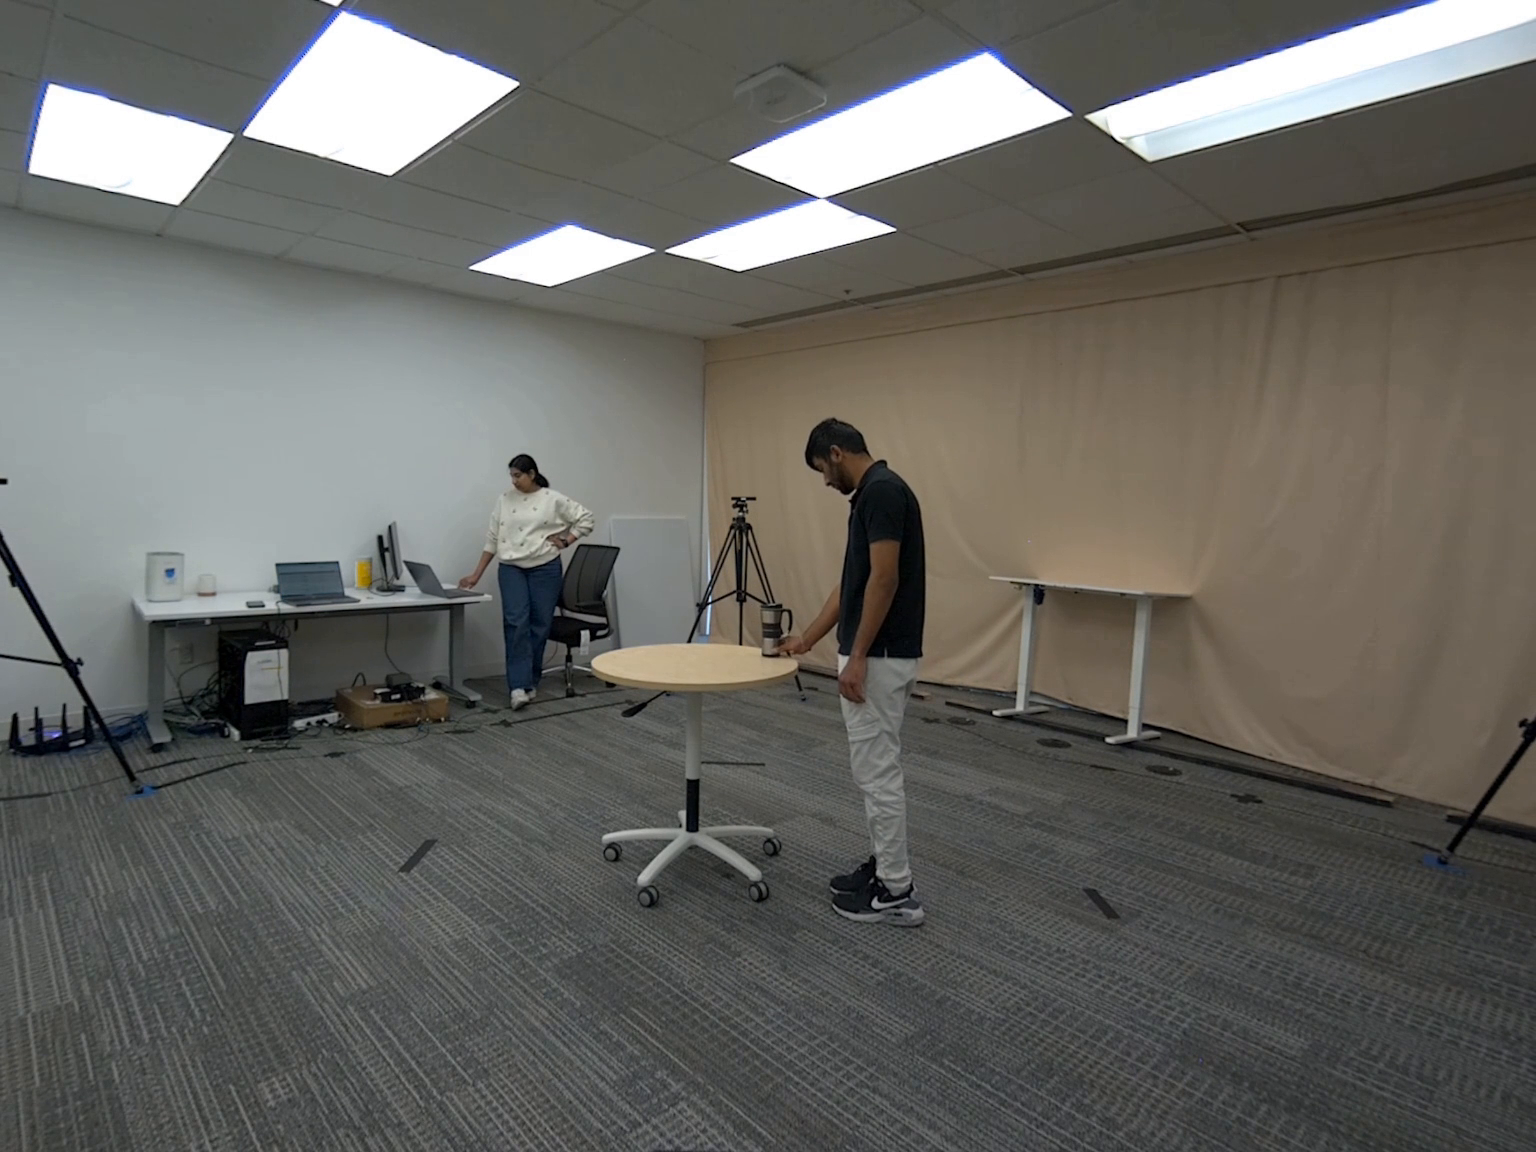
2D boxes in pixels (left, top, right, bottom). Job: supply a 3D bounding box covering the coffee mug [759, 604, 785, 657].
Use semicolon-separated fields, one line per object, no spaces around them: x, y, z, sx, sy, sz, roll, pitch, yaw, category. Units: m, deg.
0.021;0.209;3.242;0.125;0.203;0.086;0;0;34;coffee mug
